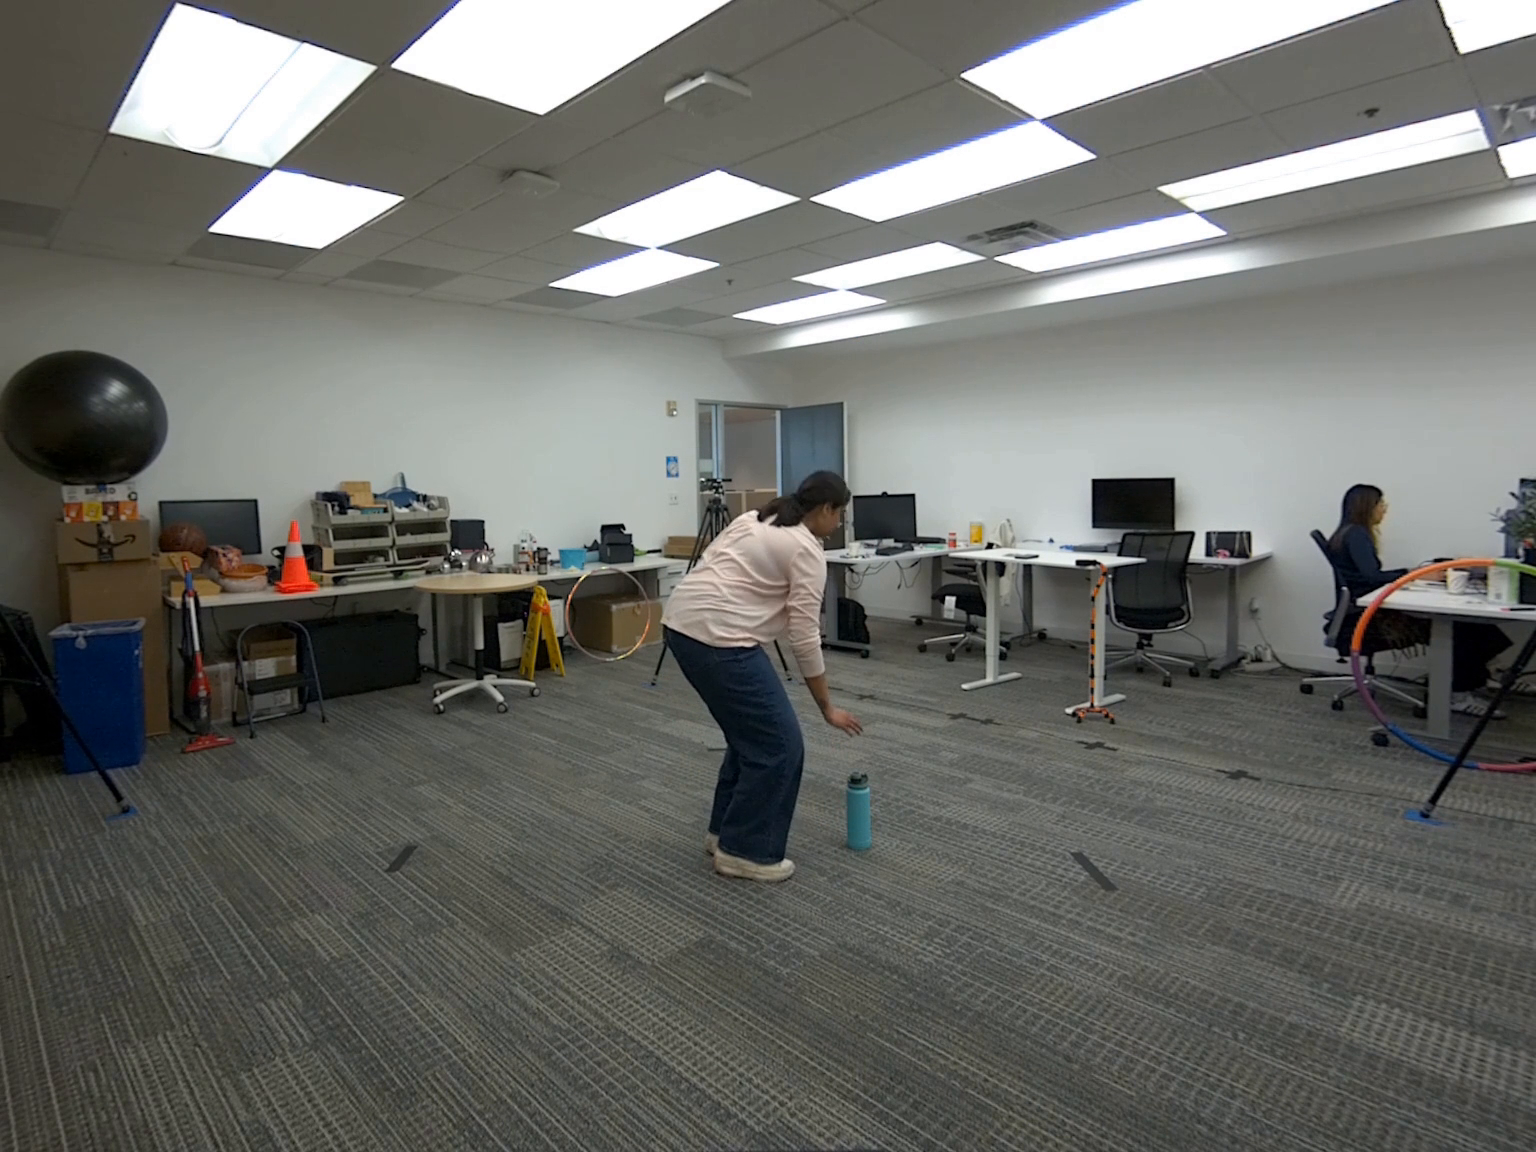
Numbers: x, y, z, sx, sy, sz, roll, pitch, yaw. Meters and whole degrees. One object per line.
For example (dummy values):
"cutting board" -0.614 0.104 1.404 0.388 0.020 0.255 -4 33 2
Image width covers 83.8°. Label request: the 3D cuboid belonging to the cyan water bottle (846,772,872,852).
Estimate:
"cyan water bottle" 0.339 0.878 3.234 0.092 0.282 0.093 -2 3 -2
